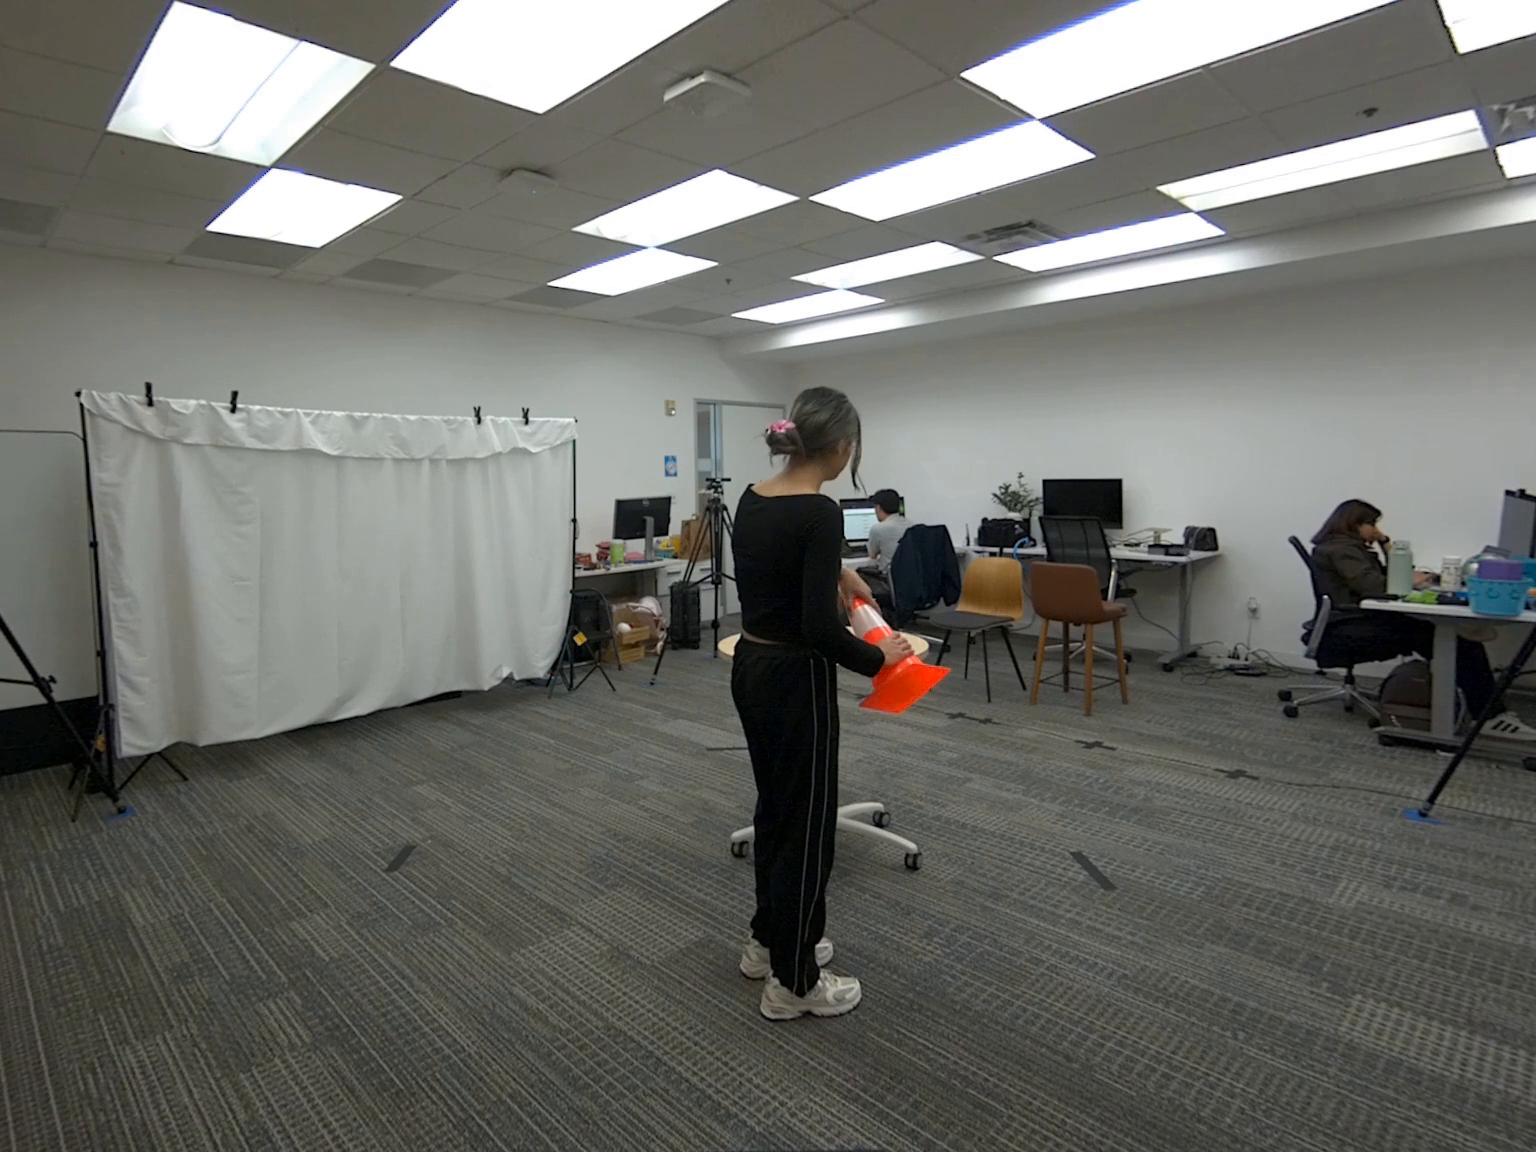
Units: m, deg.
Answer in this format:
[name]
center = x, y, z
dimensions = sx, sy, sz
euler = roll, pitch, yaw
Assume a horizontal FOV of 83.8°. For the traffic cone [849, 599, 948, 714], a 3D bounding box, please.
[traffic cone]
center = 0.283, 0.148, 2.331
dimensions = 0.205, 0.397, 0.196
euler = -41, -38, 21
